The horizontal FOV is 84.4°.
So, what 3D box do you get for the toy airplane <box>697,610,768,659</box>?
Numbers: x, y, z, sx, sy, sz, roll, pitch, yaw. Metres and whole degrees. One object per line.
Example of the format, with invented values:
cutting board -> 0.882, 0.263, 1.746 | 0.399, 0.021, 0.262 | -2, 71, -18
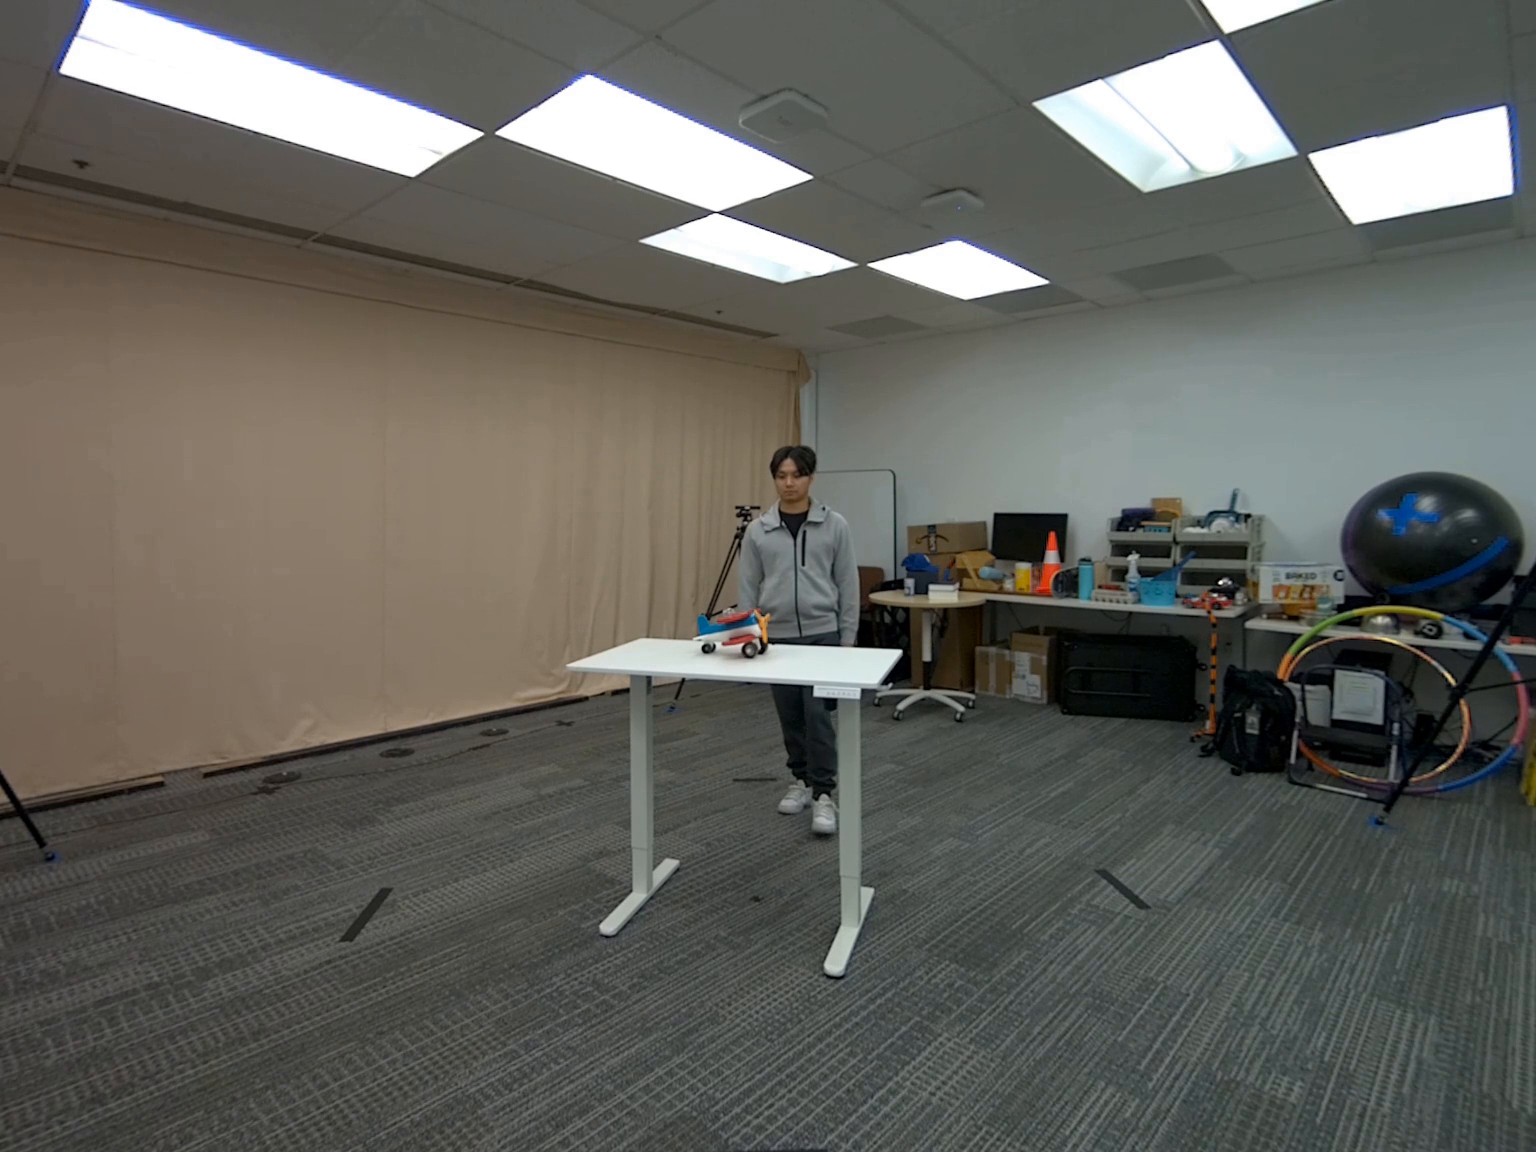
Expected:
toy airplane -> -0.119, 0.195, 2.875 | 0.258, 0.156, 0.252 | 0, 3, -3
